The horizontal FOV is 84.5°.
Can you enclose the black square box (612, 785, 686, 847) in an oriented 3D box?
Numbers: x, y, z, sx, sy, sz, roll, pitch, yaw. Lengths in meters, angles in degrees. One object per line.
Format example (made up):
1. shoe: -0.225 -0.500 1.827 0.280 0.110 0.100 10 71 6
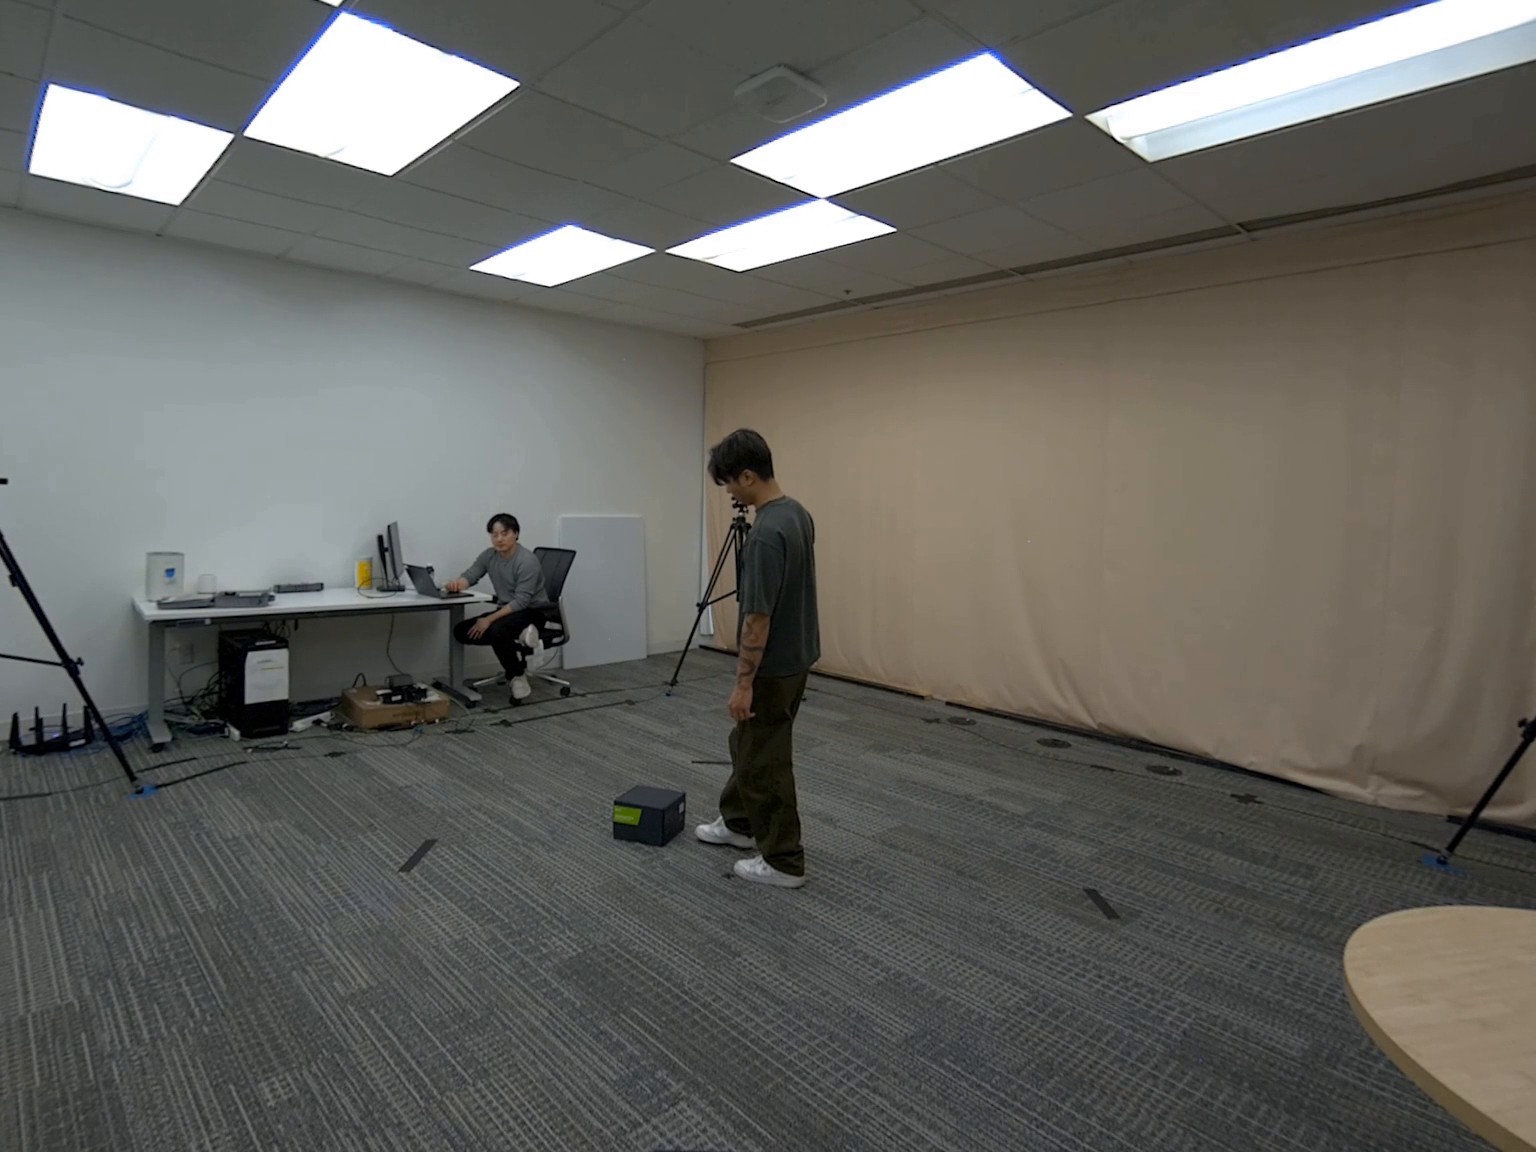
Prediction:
1. black square box: -0.498 0.979 3.477 0.231 0.155 0.214 3 4 20
